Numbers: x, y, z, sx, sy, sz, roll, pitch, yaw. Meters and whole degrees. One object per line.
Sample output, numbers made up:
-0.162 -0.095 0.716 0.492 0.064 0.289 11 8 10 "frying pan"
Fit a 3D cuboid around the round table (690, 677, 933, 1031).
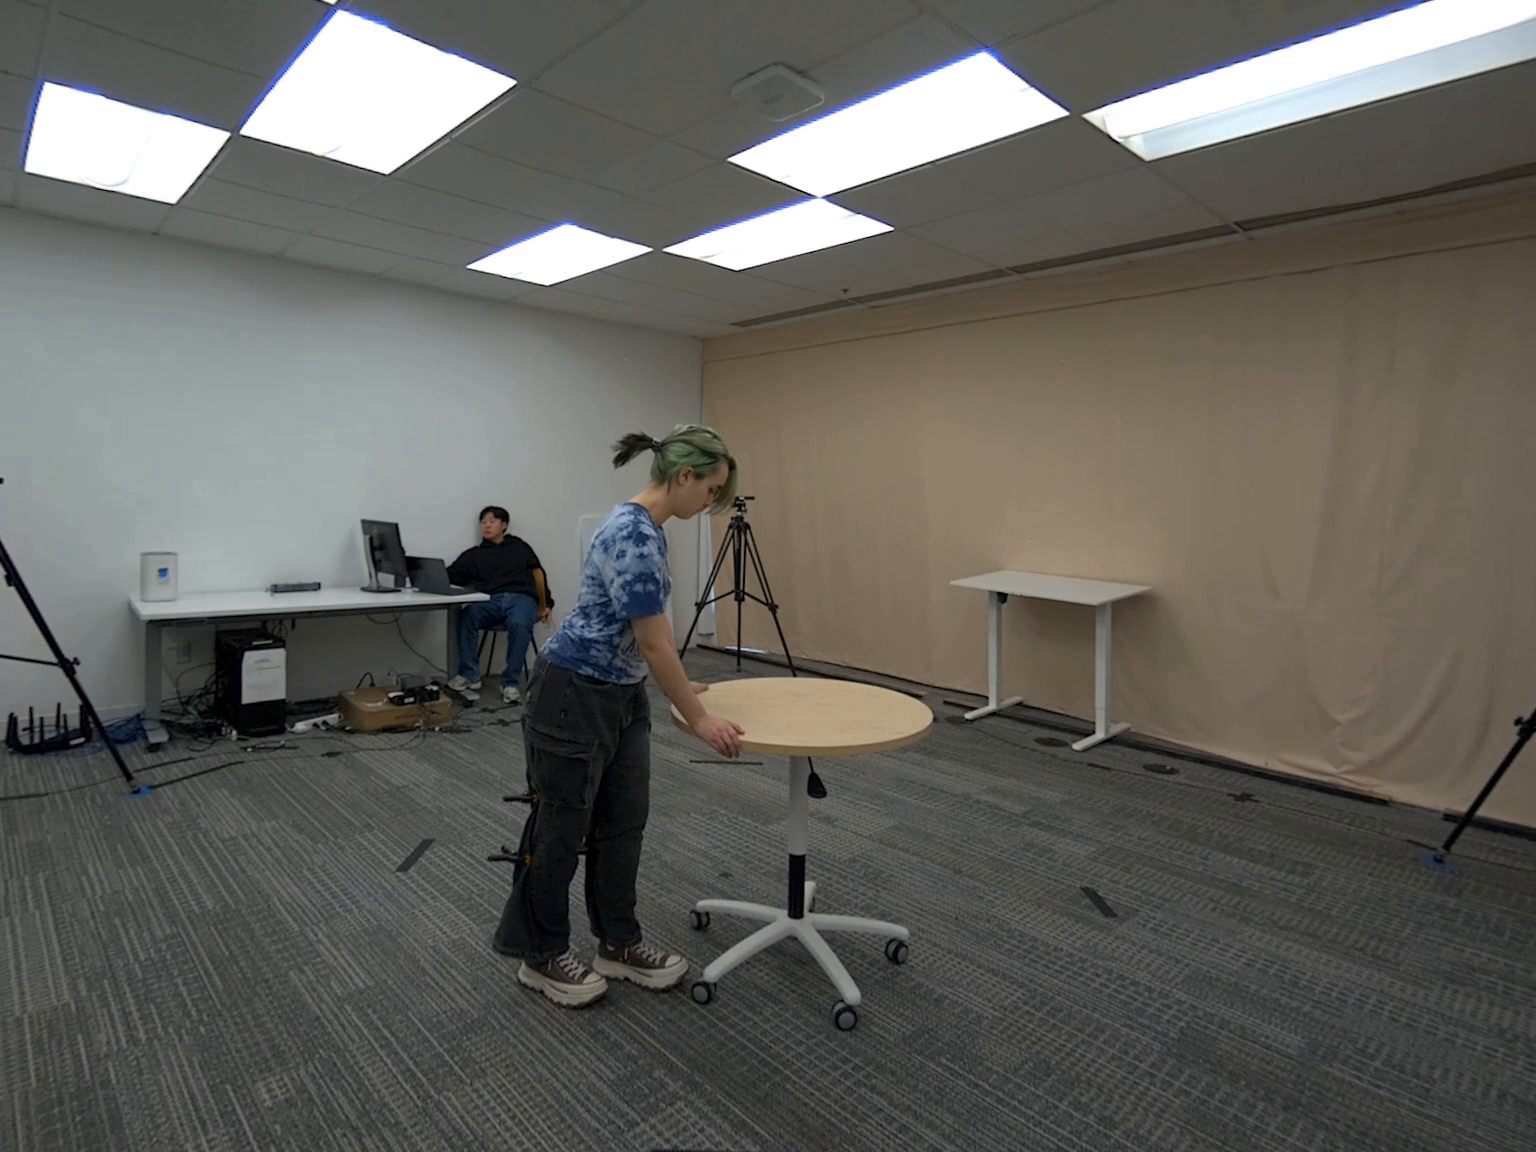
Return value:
0.082 0.778 2.514 0.763 0.791 0.767 1 5 -1 "round table"
